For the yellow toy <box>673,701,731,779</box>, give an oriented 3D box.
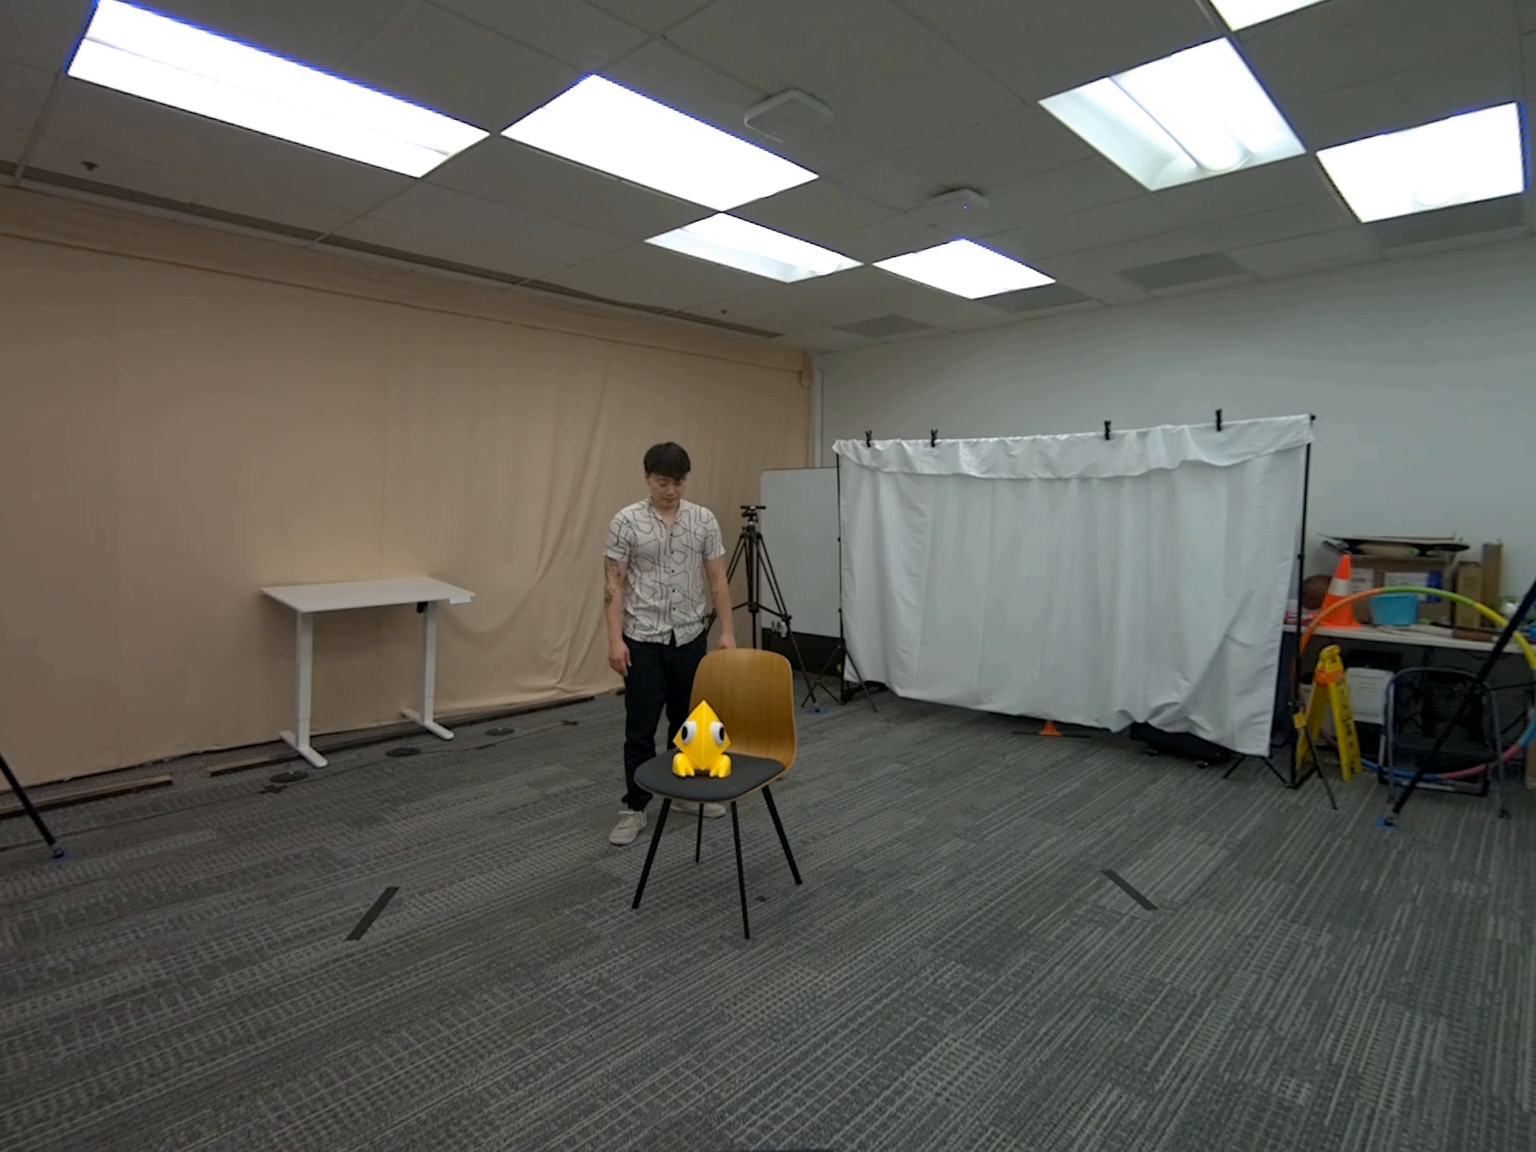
[{"bbox_3d":[-0.219,0.555,2.905,0.204,0.231,0.194,3,-1,-4],"label":"yellow toy"}]
